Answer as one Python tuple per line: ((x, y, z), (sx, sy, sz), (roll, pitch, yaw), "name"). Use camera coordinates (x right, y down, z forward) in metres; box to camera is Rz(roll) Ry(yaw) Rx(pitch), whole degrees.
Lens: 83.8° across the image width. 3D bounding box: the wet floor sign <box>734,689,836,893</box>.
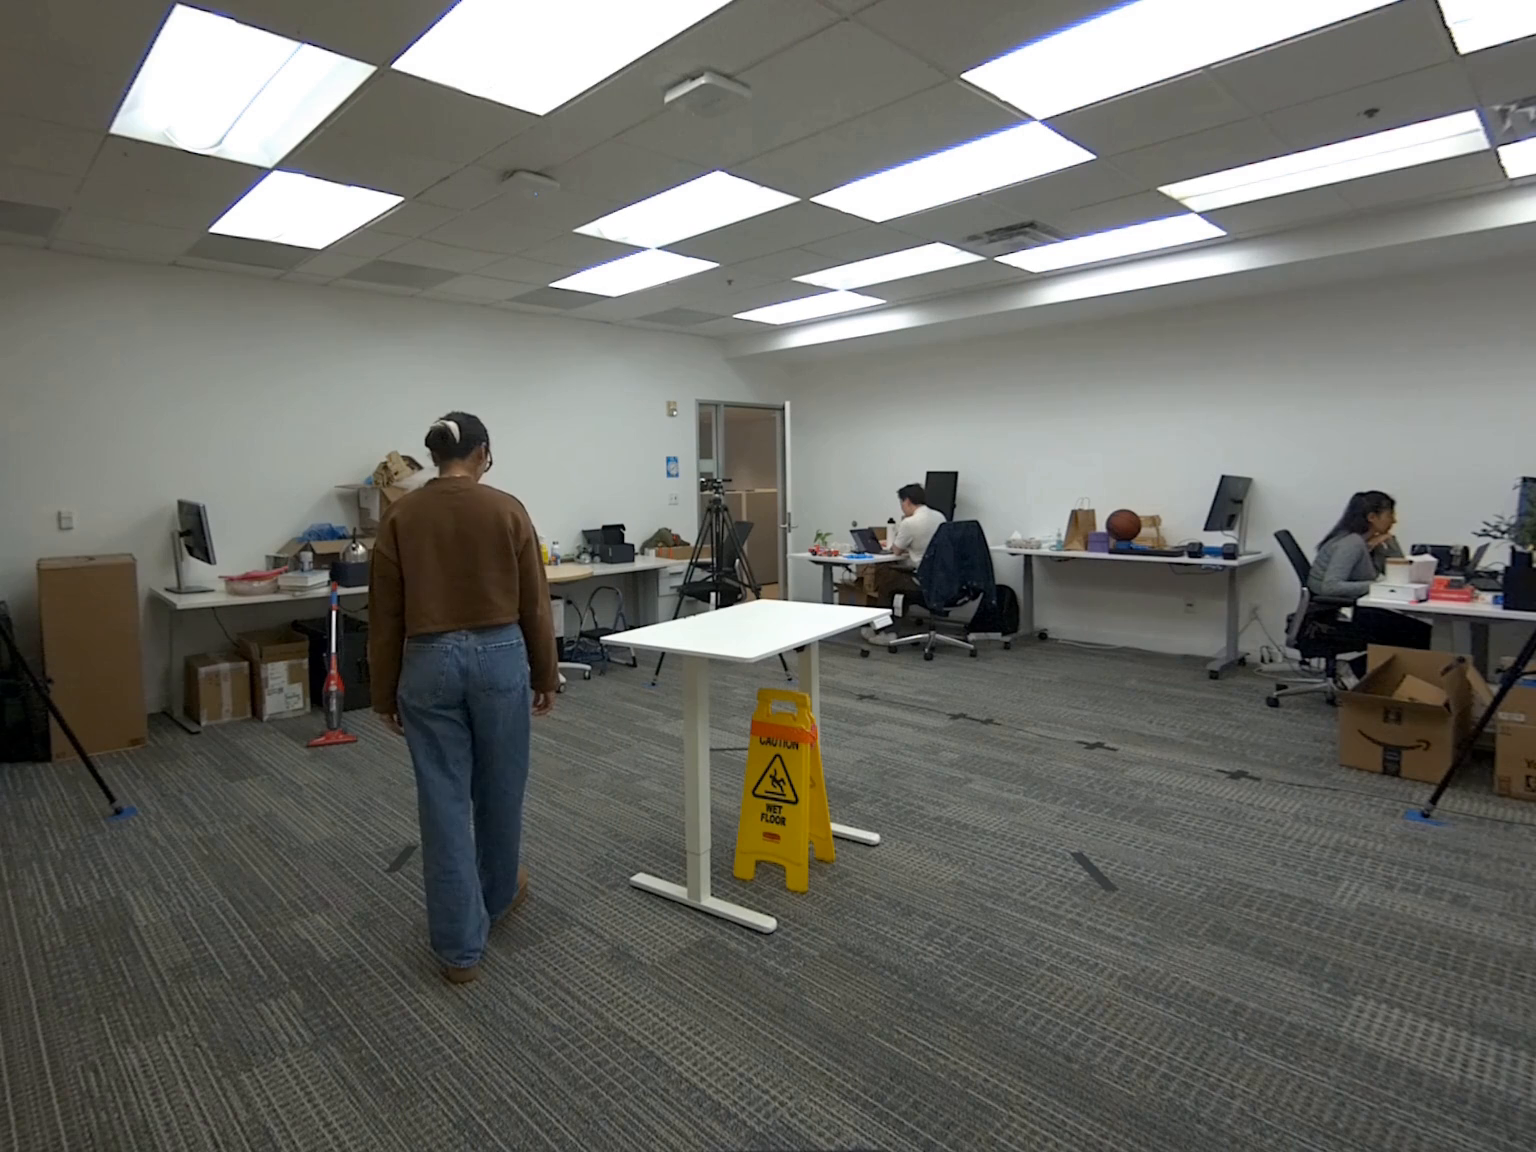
((0.061, 0.727, 3.035), (0.289, 0.644, 0.284), (1, 4, 27), "wet floor sign")
